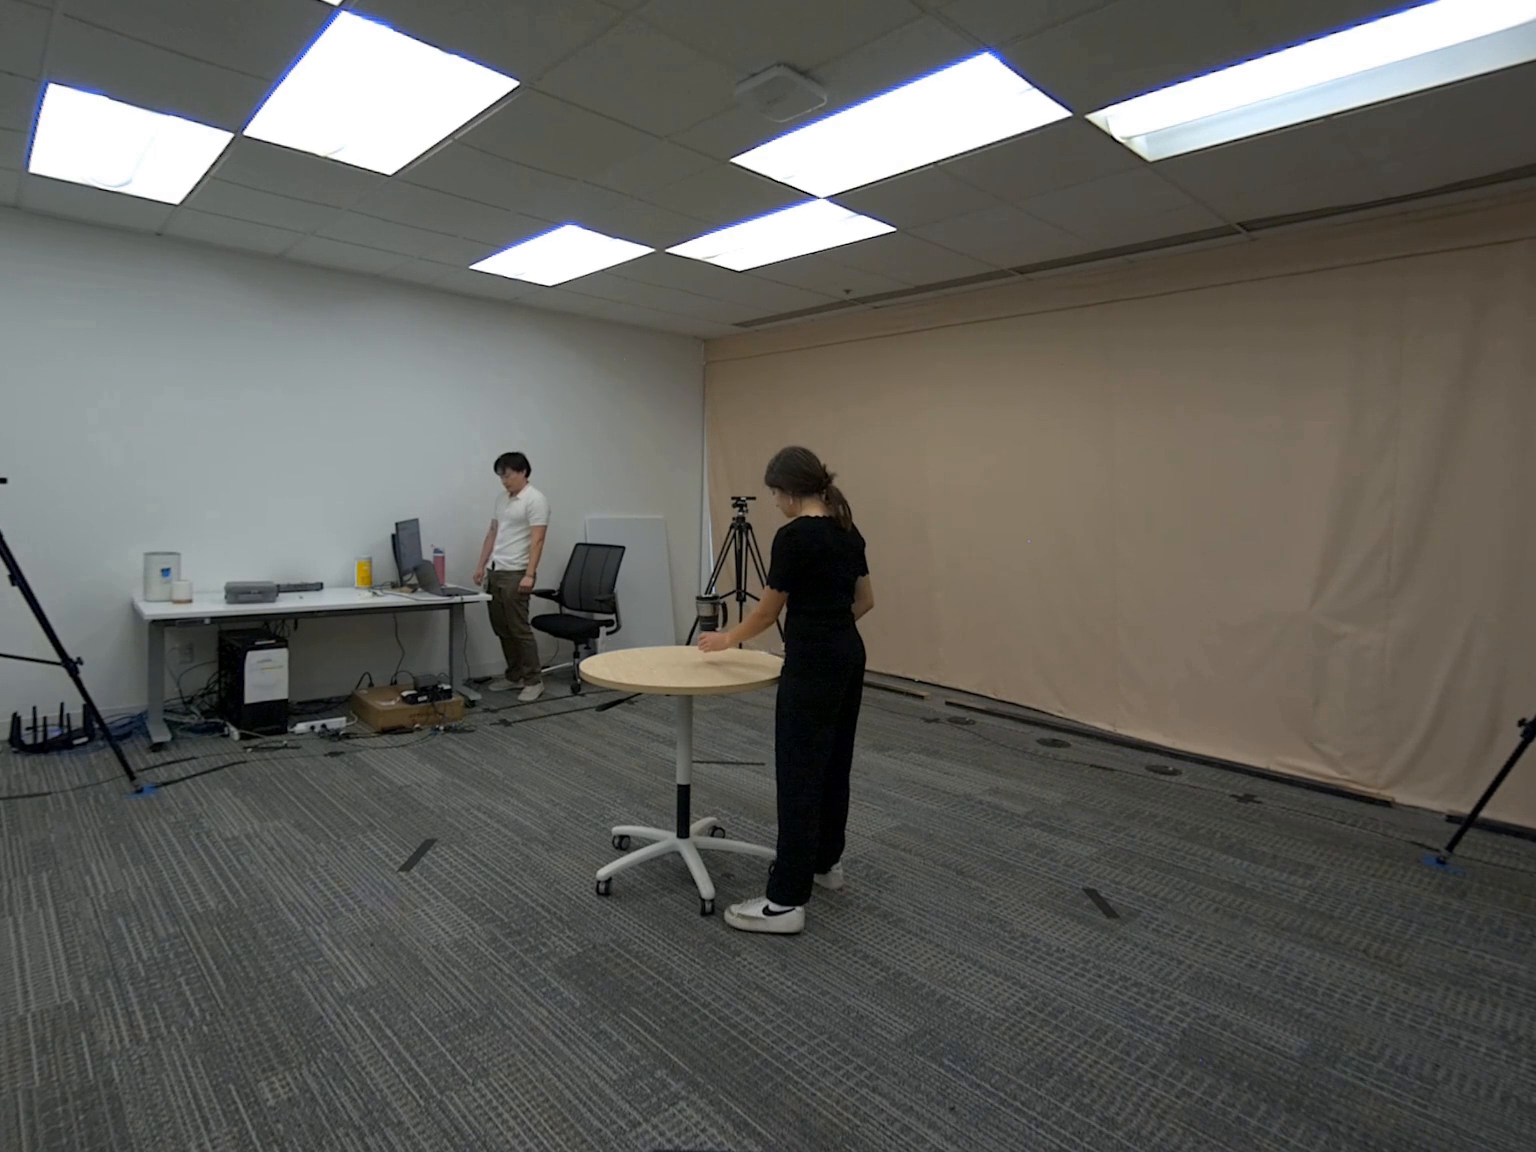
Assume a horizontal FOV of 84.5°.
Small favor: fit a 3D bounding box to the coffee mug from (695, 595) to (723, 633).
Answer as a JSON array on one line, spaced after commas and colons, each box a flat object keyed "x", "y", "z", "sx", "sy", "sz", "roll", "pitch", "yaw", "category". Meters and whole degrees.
[{"x": -0.210, "y": 0.176, "z": 3.066, "sx": 0.086, "sy": 0.202, "sz": 0.124, "roll": -2, "pitch": 4, "yaw": -22, "category": "coffee mug"}]
